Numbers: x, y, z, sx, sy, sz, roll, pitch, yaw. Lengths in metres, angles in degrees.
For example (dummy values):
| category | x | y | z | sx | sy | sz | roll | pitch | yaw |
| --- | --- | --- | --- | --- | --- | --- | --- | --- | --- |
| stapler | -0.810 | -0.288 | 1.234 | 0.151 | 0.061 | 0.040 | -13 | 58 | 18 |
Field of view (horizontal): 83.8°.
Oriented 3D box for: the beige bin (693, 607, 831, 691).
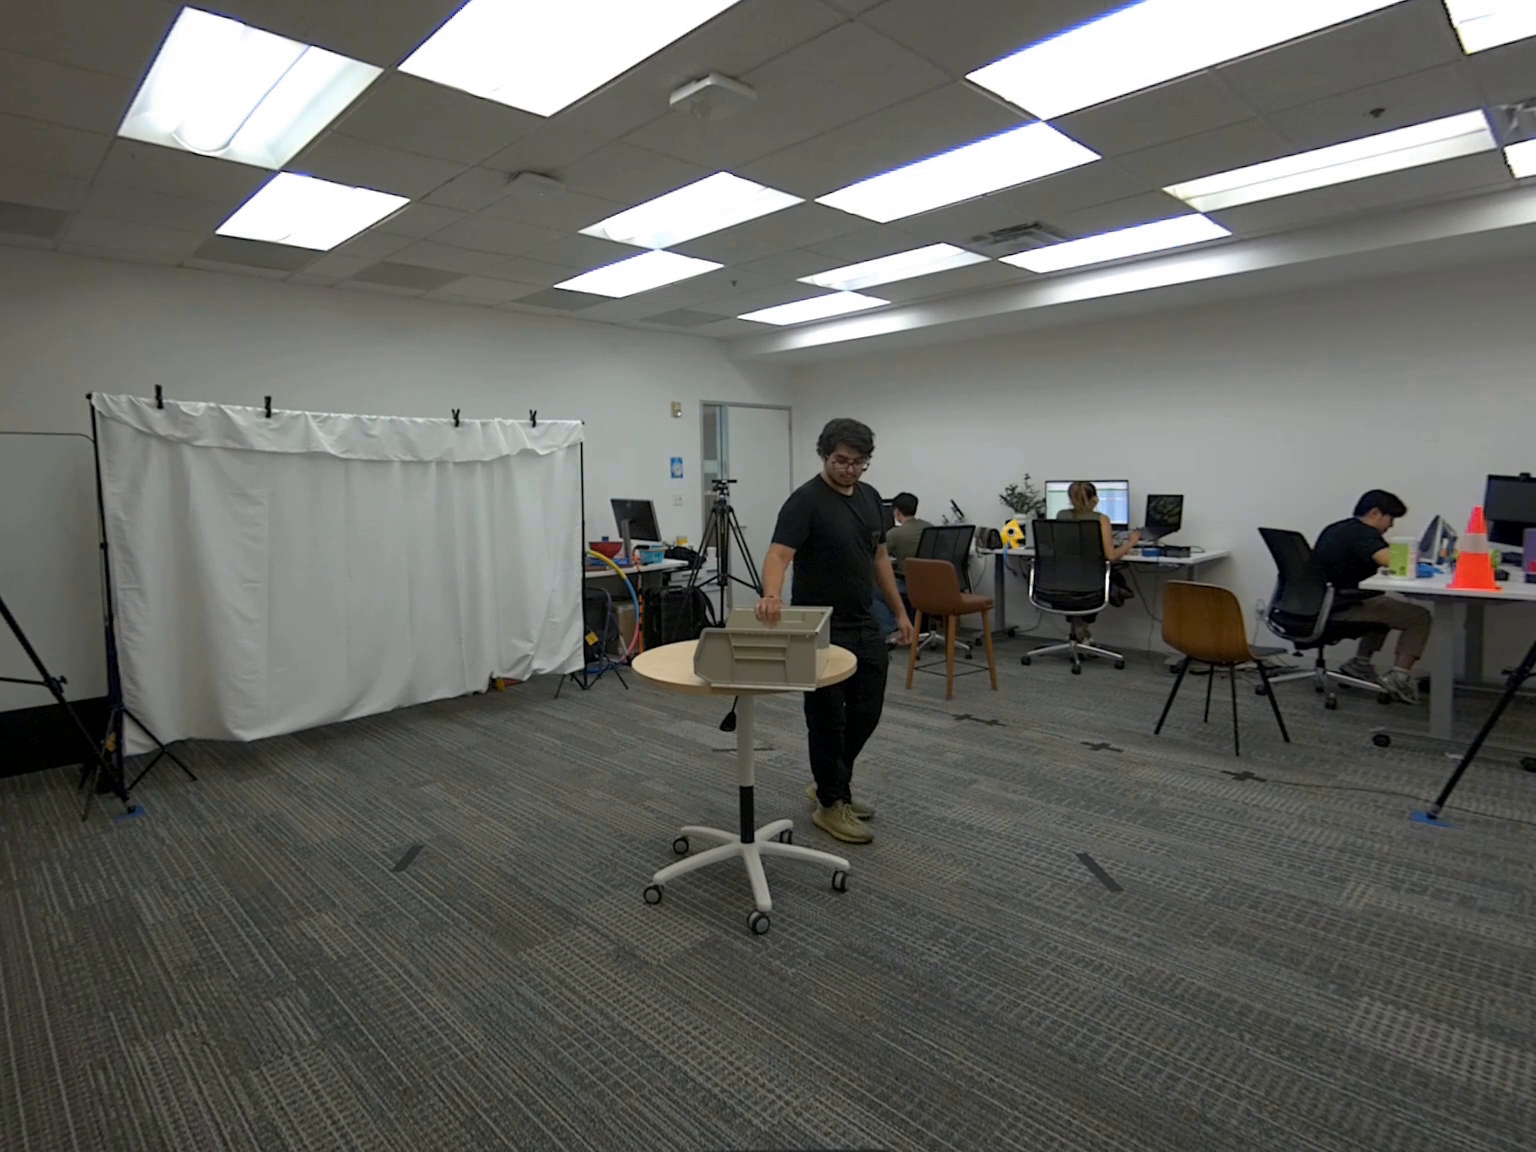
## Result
| category | x | y | z | sx | sy | sz | roll | pitch | yaw |
| --- | --- | --- | --- | --- | --- | --- | --- | --- | --- |
| beige bin | -0.016 | 0.224 | 2.712 | 0.382 | 0.188 | 0.419 | 1 | 6 | 12 |
